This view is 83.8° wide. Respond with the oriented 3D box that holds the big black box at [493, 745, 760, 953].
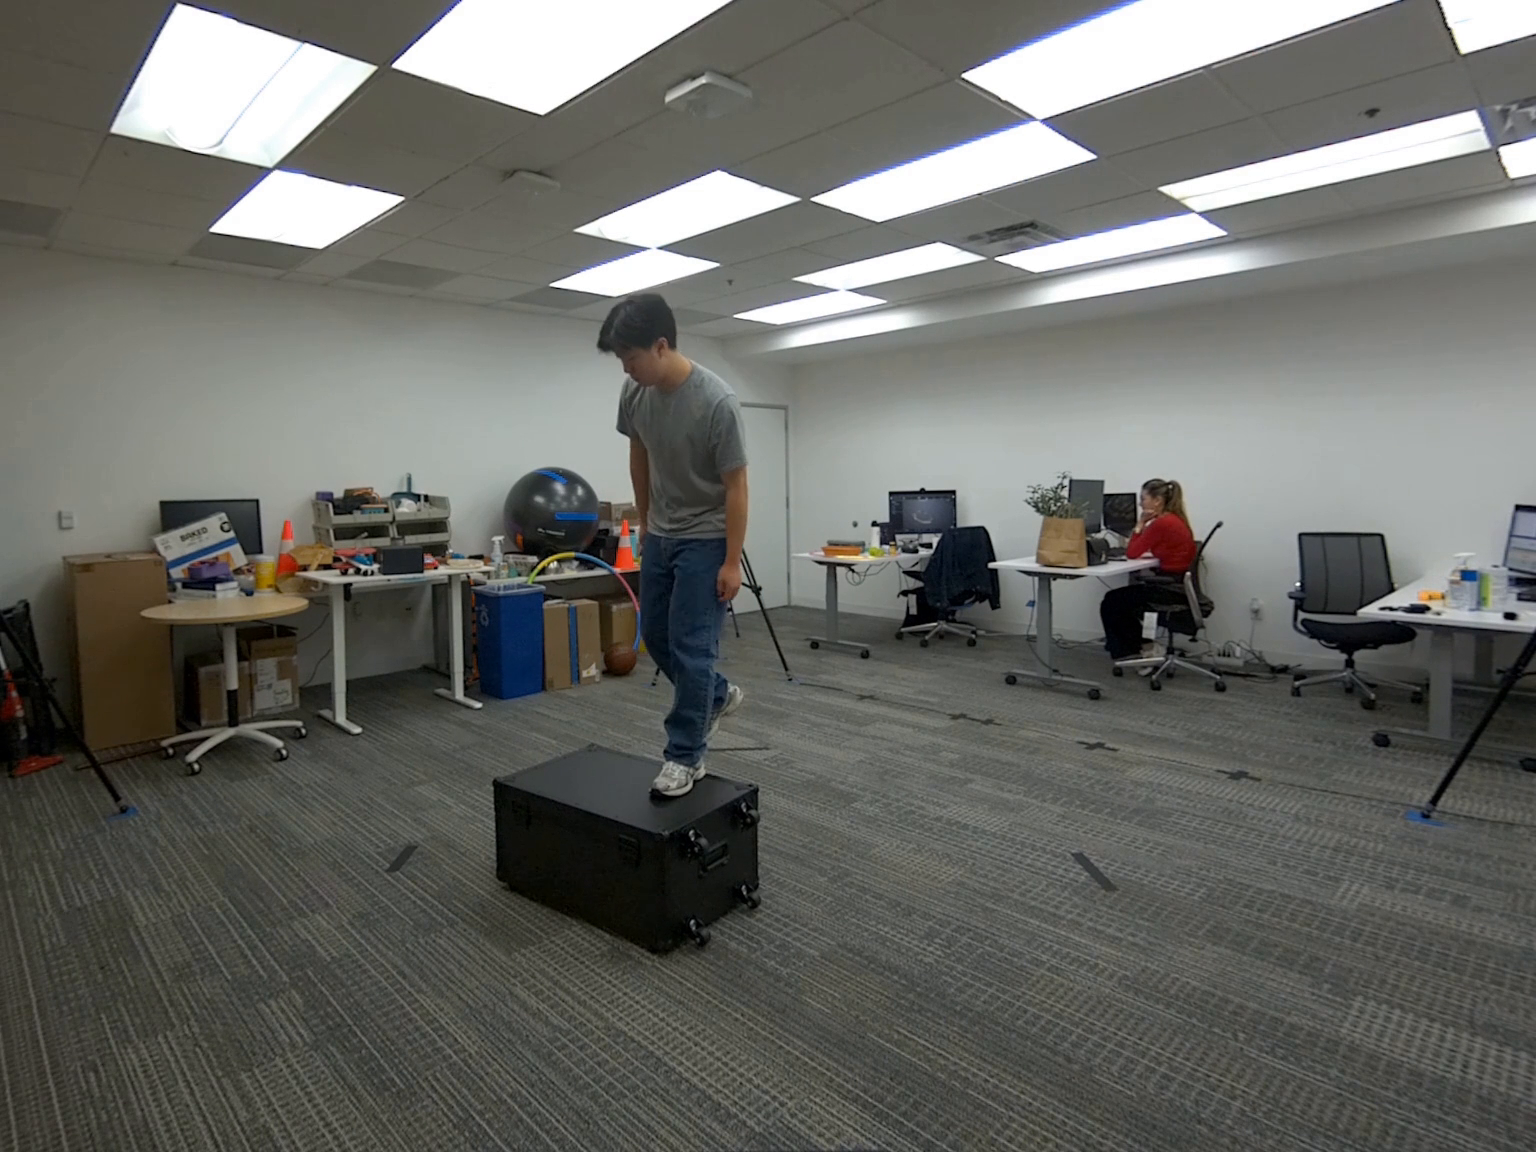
[{"bbox_3d":[-0.458,0.889,2.887,0.887,0.394,0.508,3,7,36],"label":"big black box"}]
